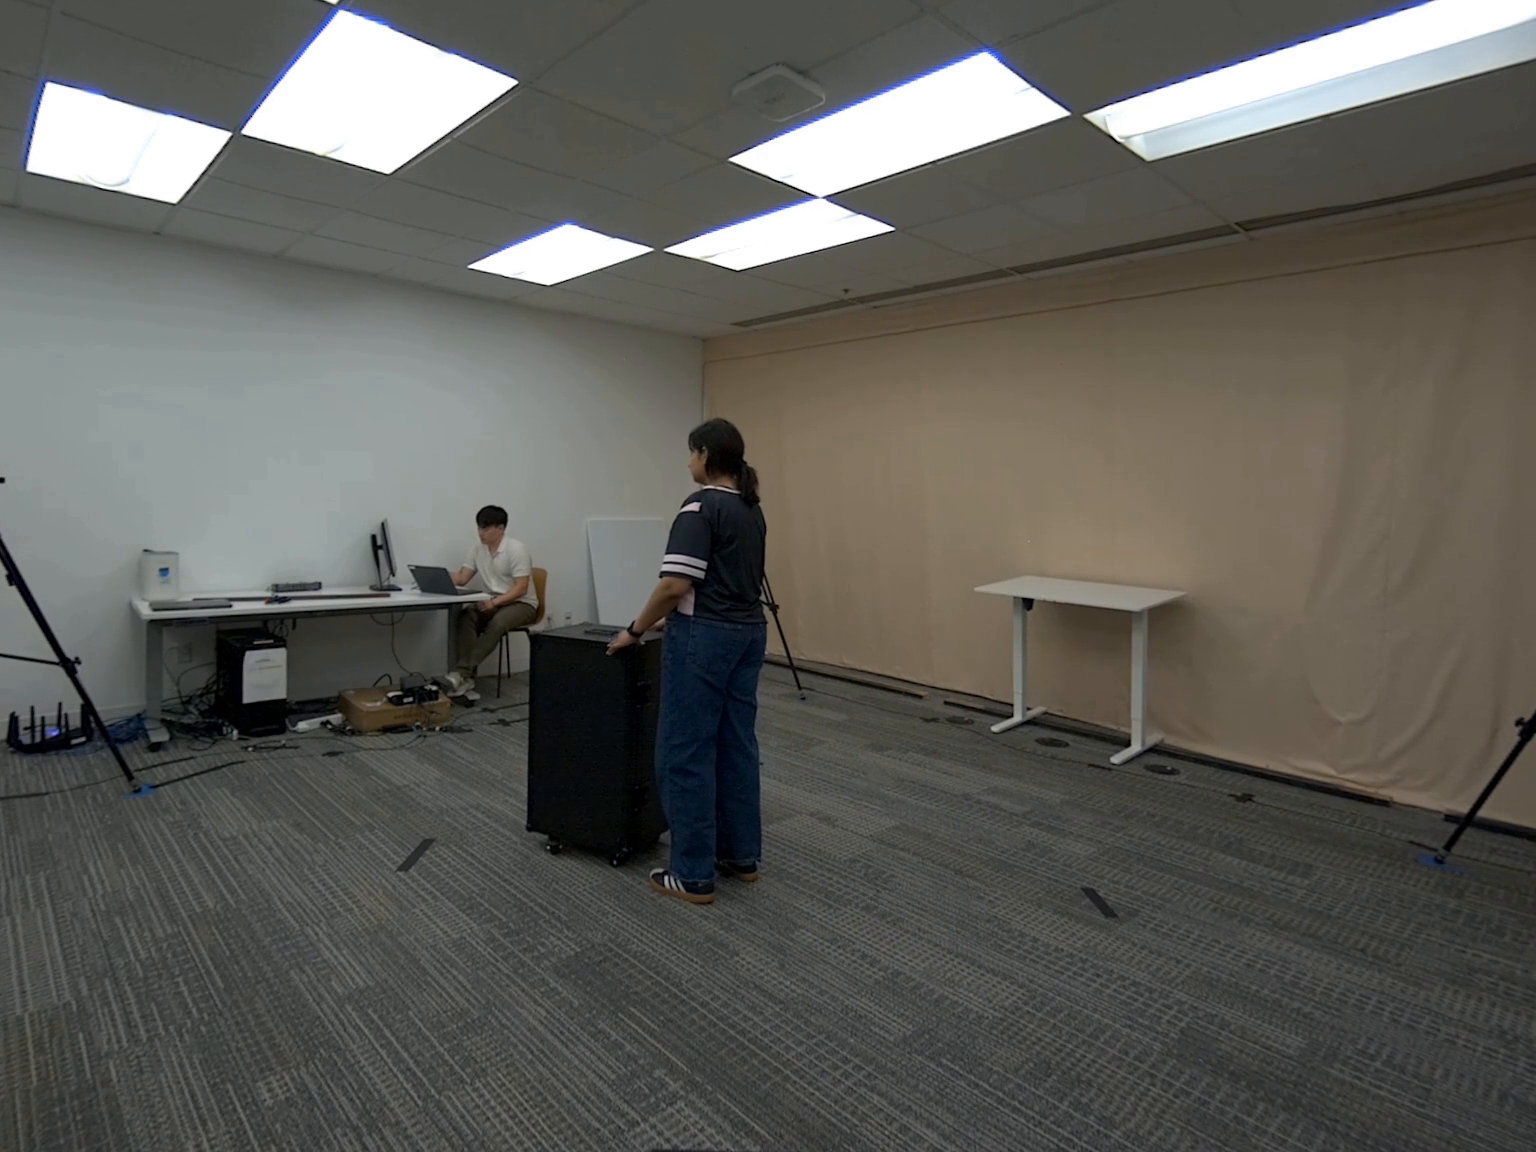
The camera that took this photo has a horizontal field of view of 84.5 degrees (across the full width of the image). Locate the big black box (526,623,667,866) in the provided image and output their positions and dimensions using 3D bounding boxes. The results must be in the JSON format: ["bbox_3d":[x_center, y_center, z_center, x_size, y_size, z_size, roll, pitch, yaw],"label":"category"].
[{"bbox_3d":[-0.658,0.654,3.339,0.534,0.867,0.378,3,2,26],"label":"big black box"}]
